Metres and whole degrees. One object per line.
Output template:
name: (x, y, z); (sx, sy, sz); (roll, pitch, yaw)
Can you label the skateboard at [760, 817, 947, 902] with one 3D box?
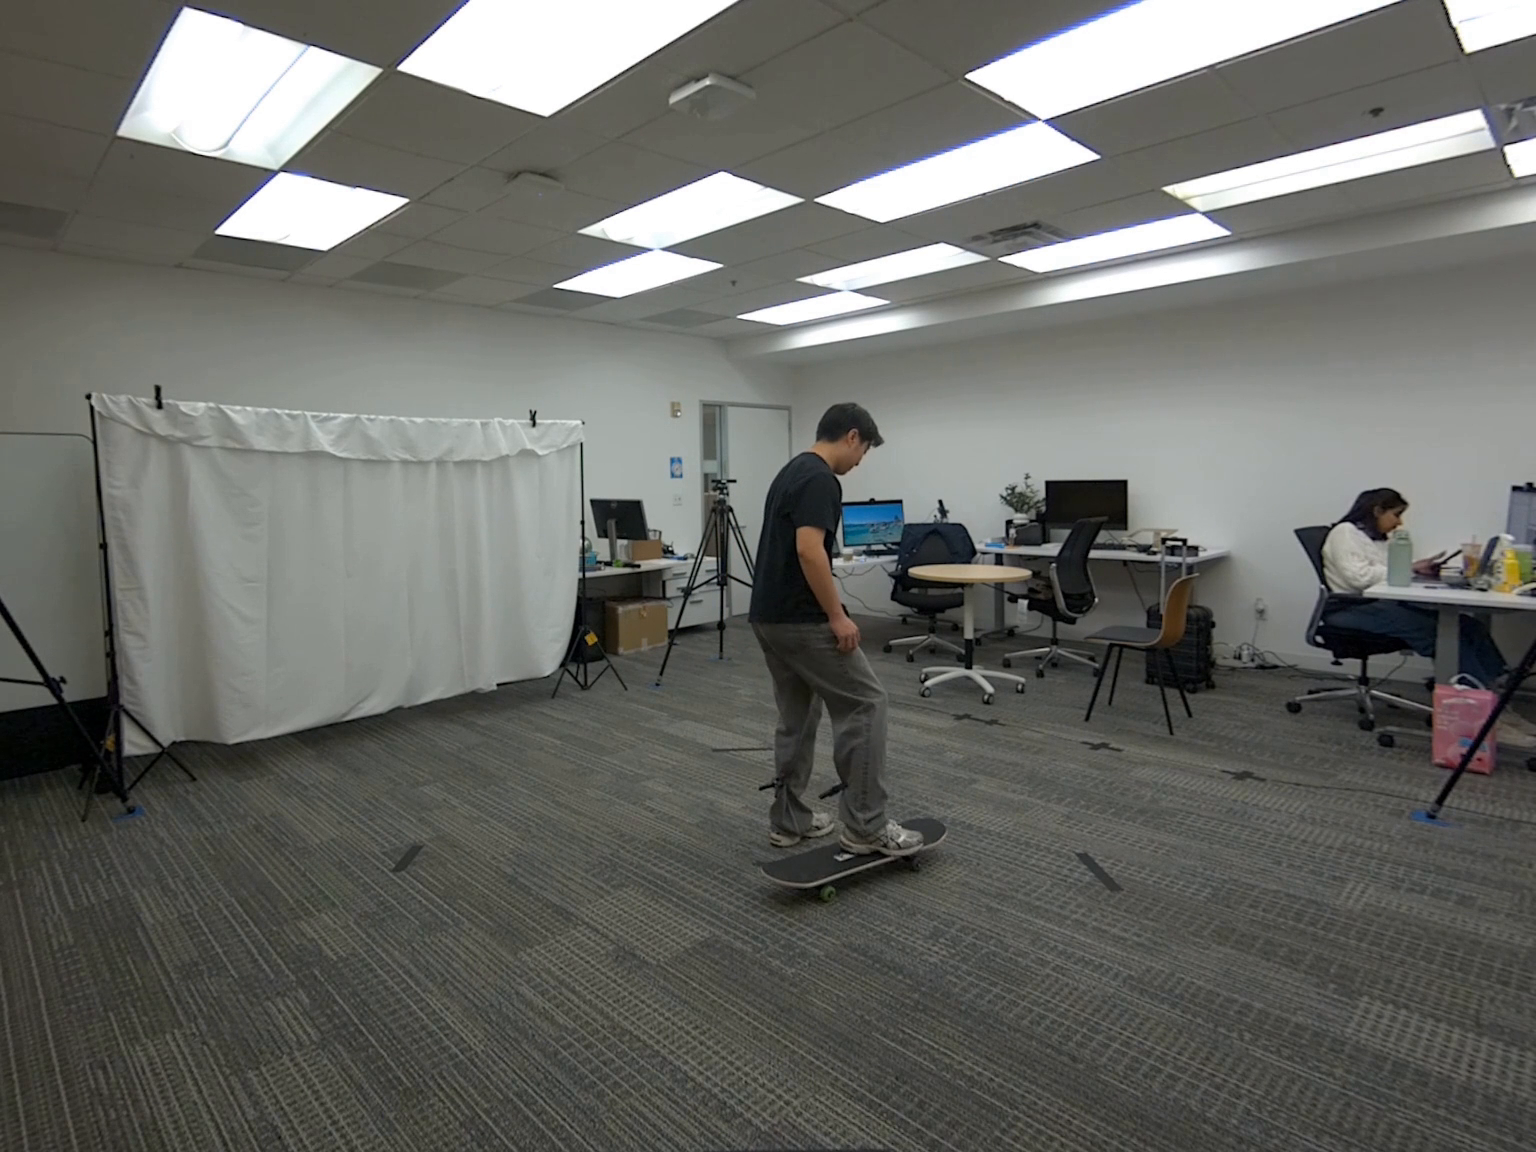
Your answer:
skateboard: (0.326, 0.994, 2.996); (0.767, 0.110, 0.199); (-5, 9, -31)
